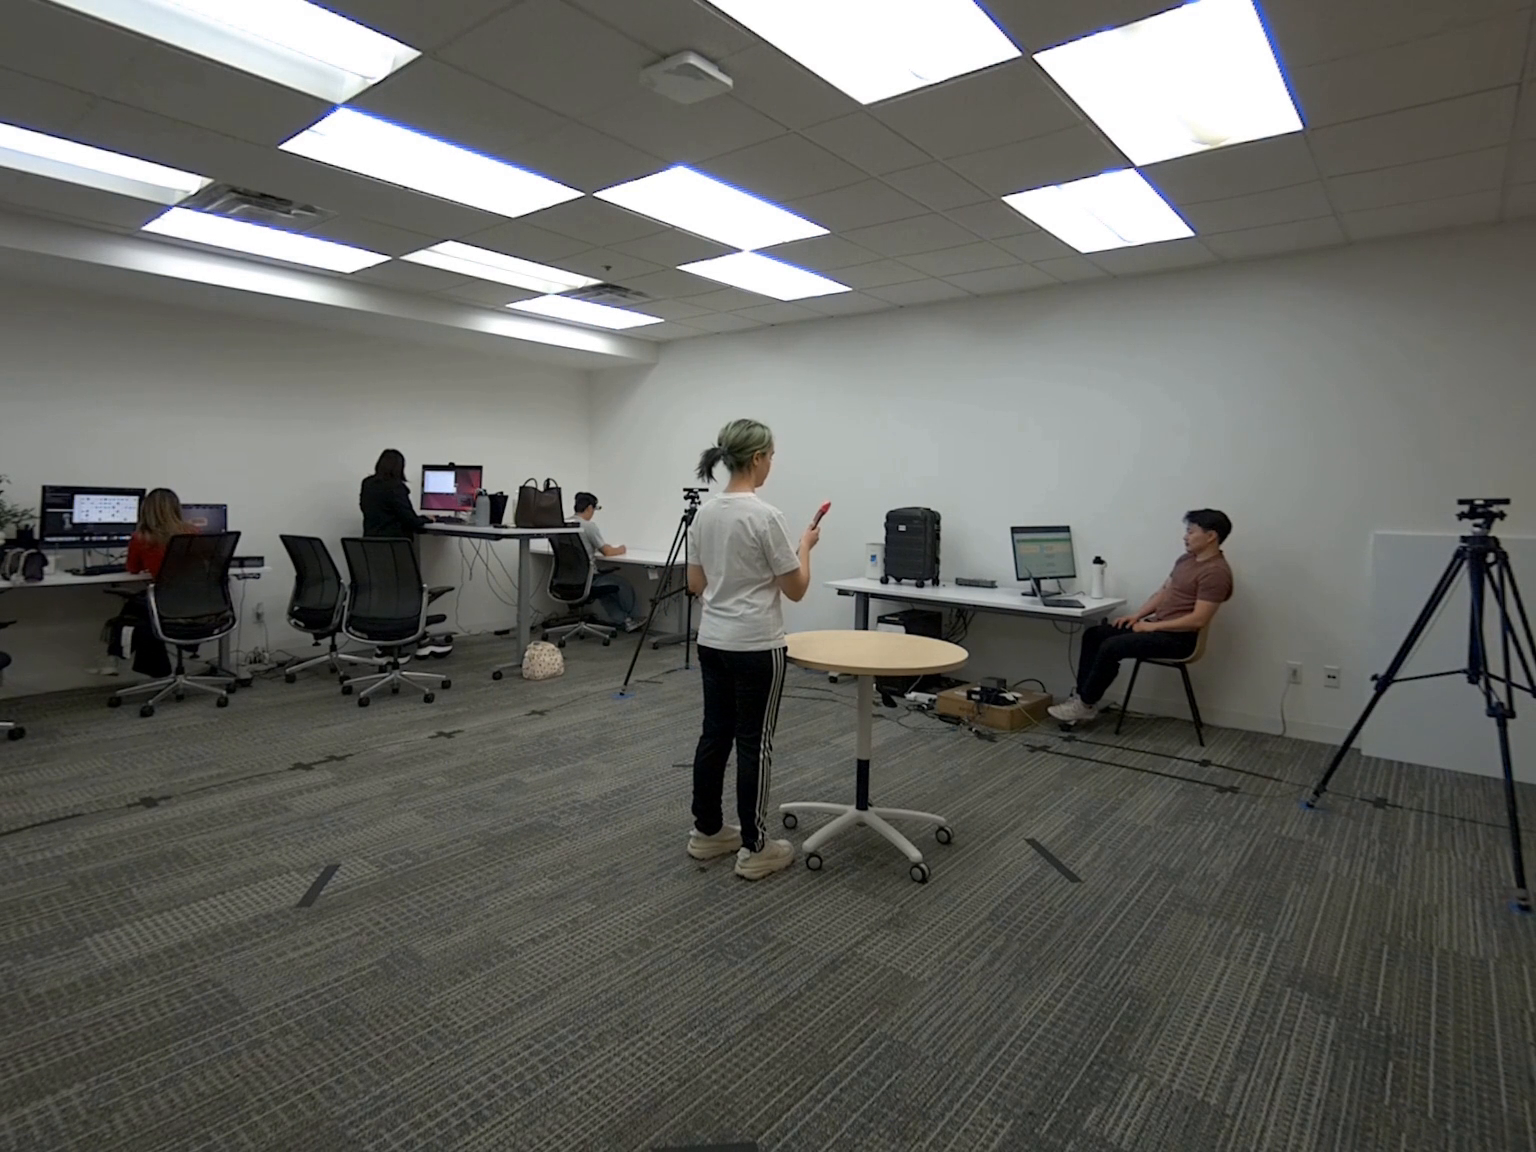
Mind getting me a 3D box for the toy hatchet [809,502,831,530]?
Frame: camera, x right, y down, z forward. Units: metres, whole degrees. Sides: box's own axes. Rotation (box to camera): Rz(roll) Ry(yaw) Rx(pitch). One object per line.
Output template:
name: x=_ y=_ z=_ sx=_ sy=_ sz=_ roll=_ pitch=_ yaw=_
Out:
toy hatchet: x=0.151 y=-0.180 z=3.306 sx=0.029 sy=0.270 sz=0.132 roll=33 pitch=-8 yaw=-8
